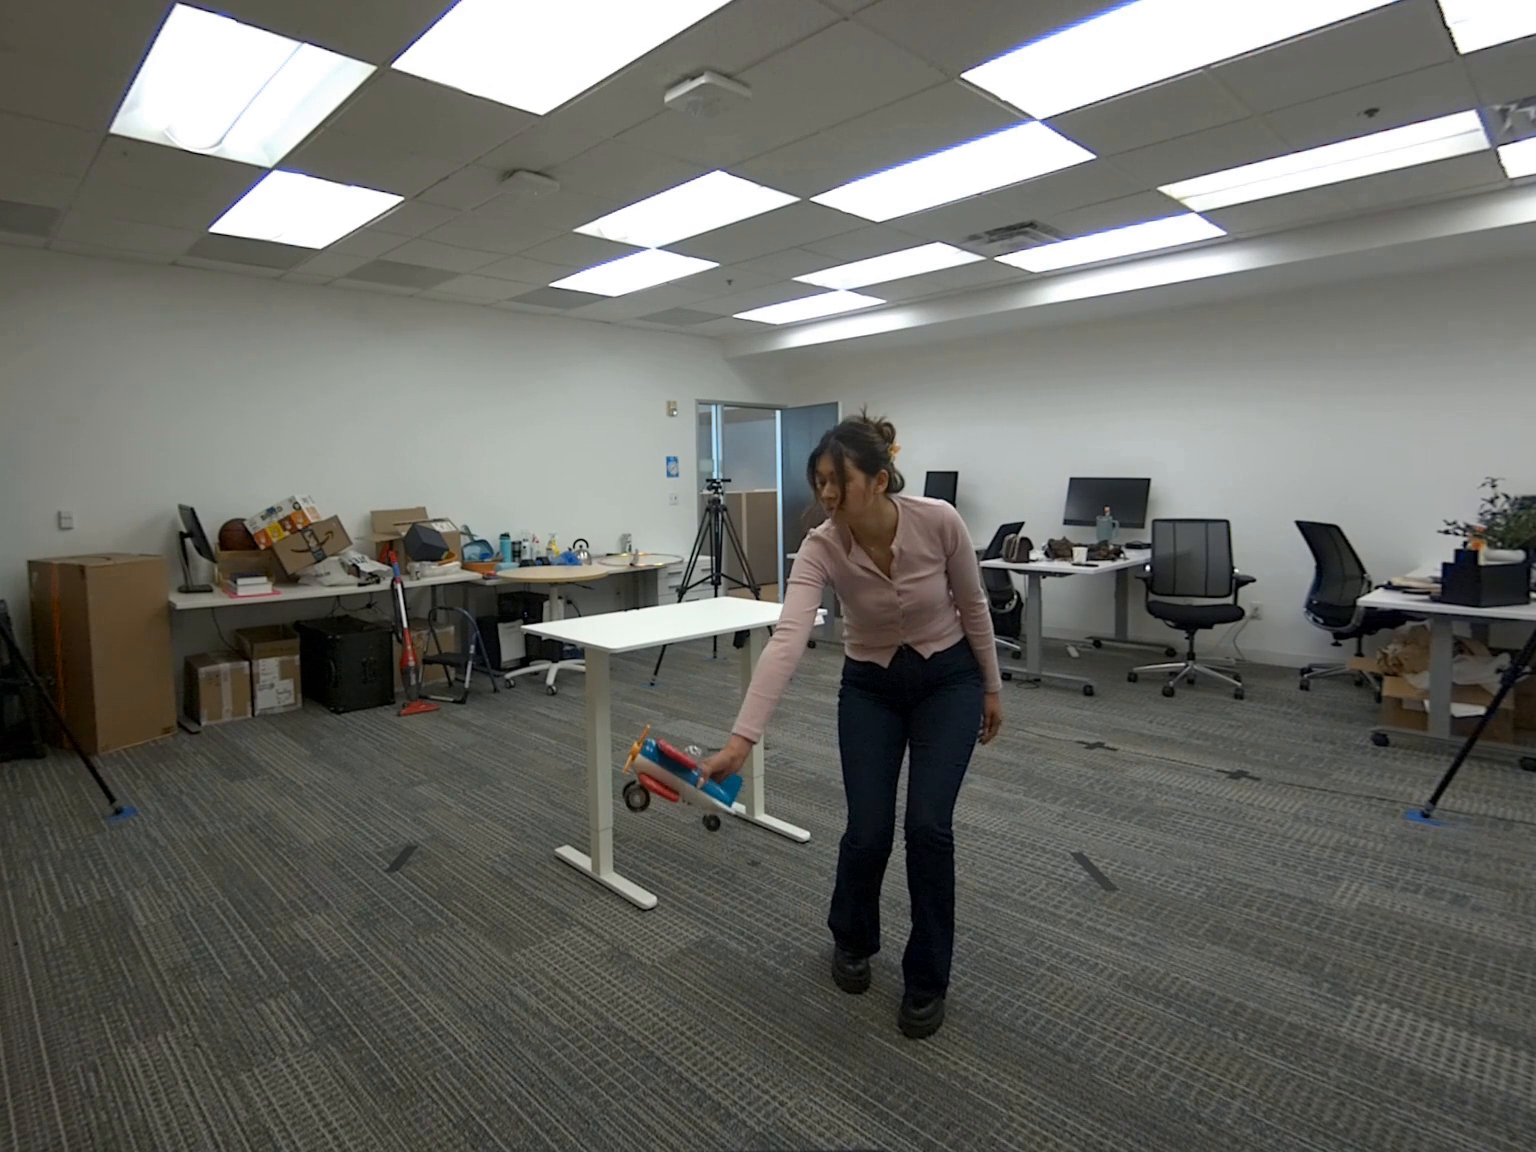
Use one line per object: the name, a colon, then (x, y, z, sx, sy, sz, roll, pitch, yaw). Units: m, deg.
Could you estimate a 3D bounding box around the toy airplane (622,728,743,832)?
toy airplane: (-0.186, 0.457, 1.871, 0.250, 0.157, 0.258, 22, -11, -37)
